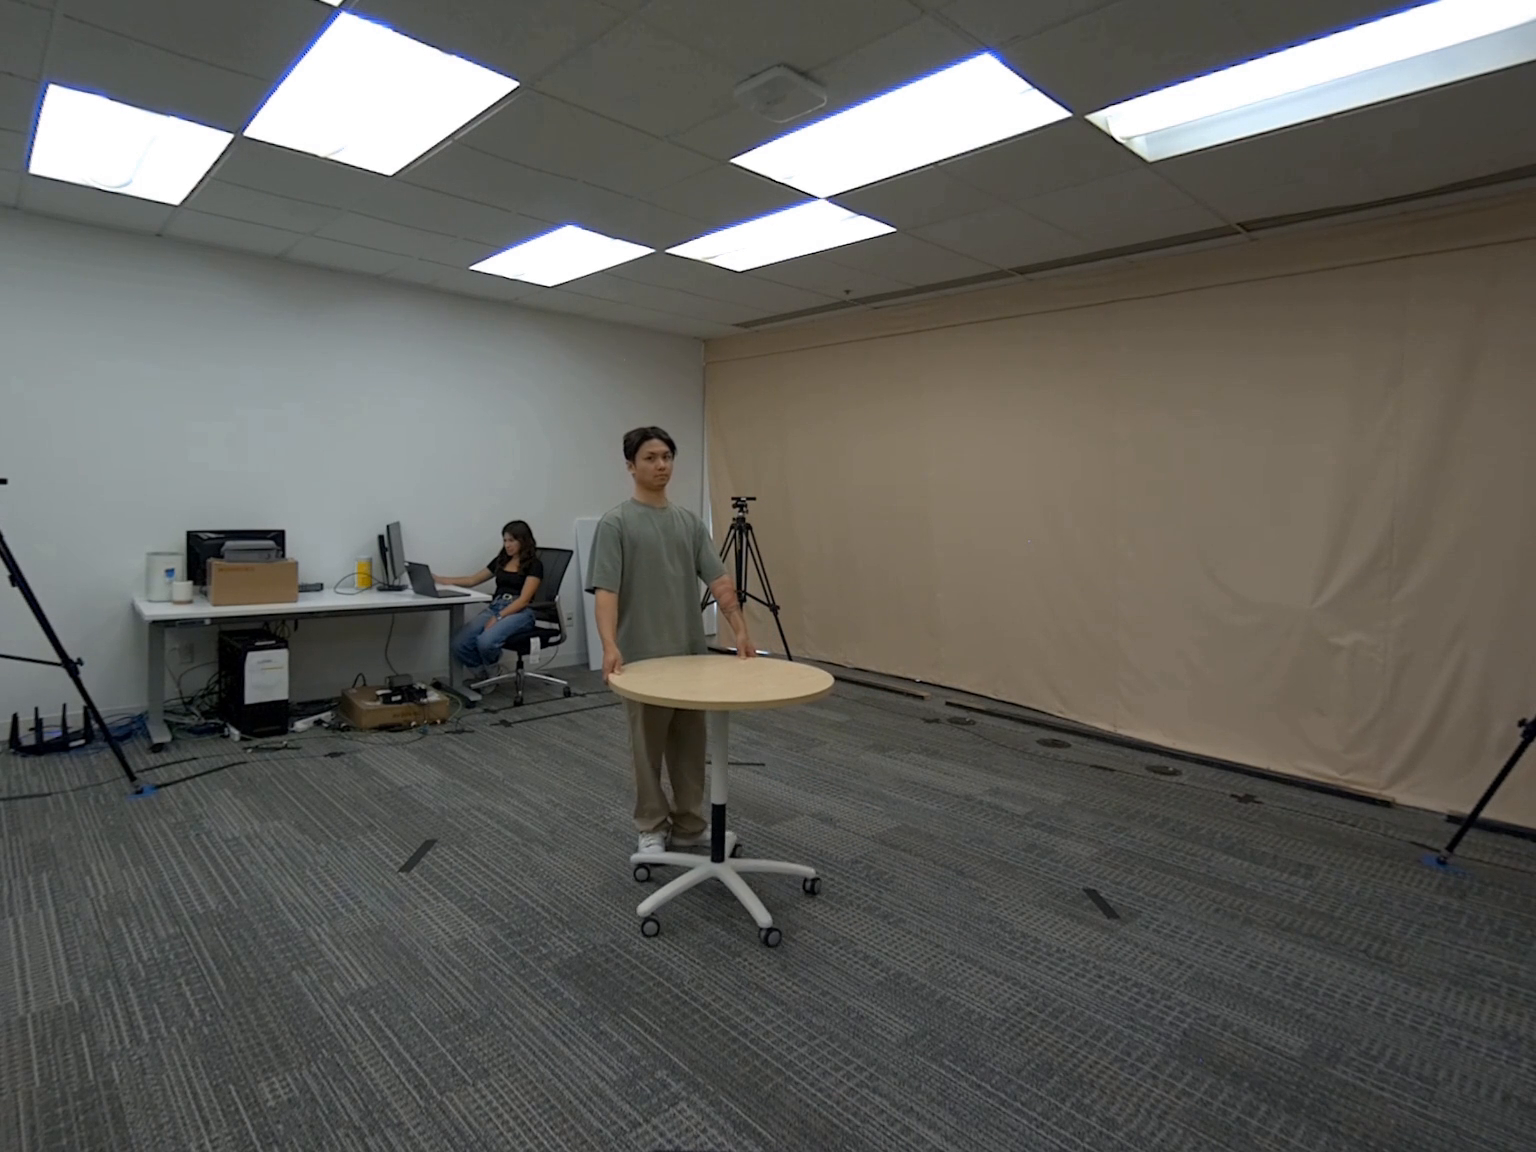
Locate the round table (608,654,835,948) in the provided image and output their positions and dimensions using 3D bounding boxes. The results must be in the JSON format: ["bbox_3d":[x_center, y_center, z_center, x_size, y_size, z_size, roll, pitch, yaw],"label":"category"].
[{"bbox_3d":[-0.165,0.732,2.878,0.784,0.785,0.787,1,4,-1],"label":"round table"}]
